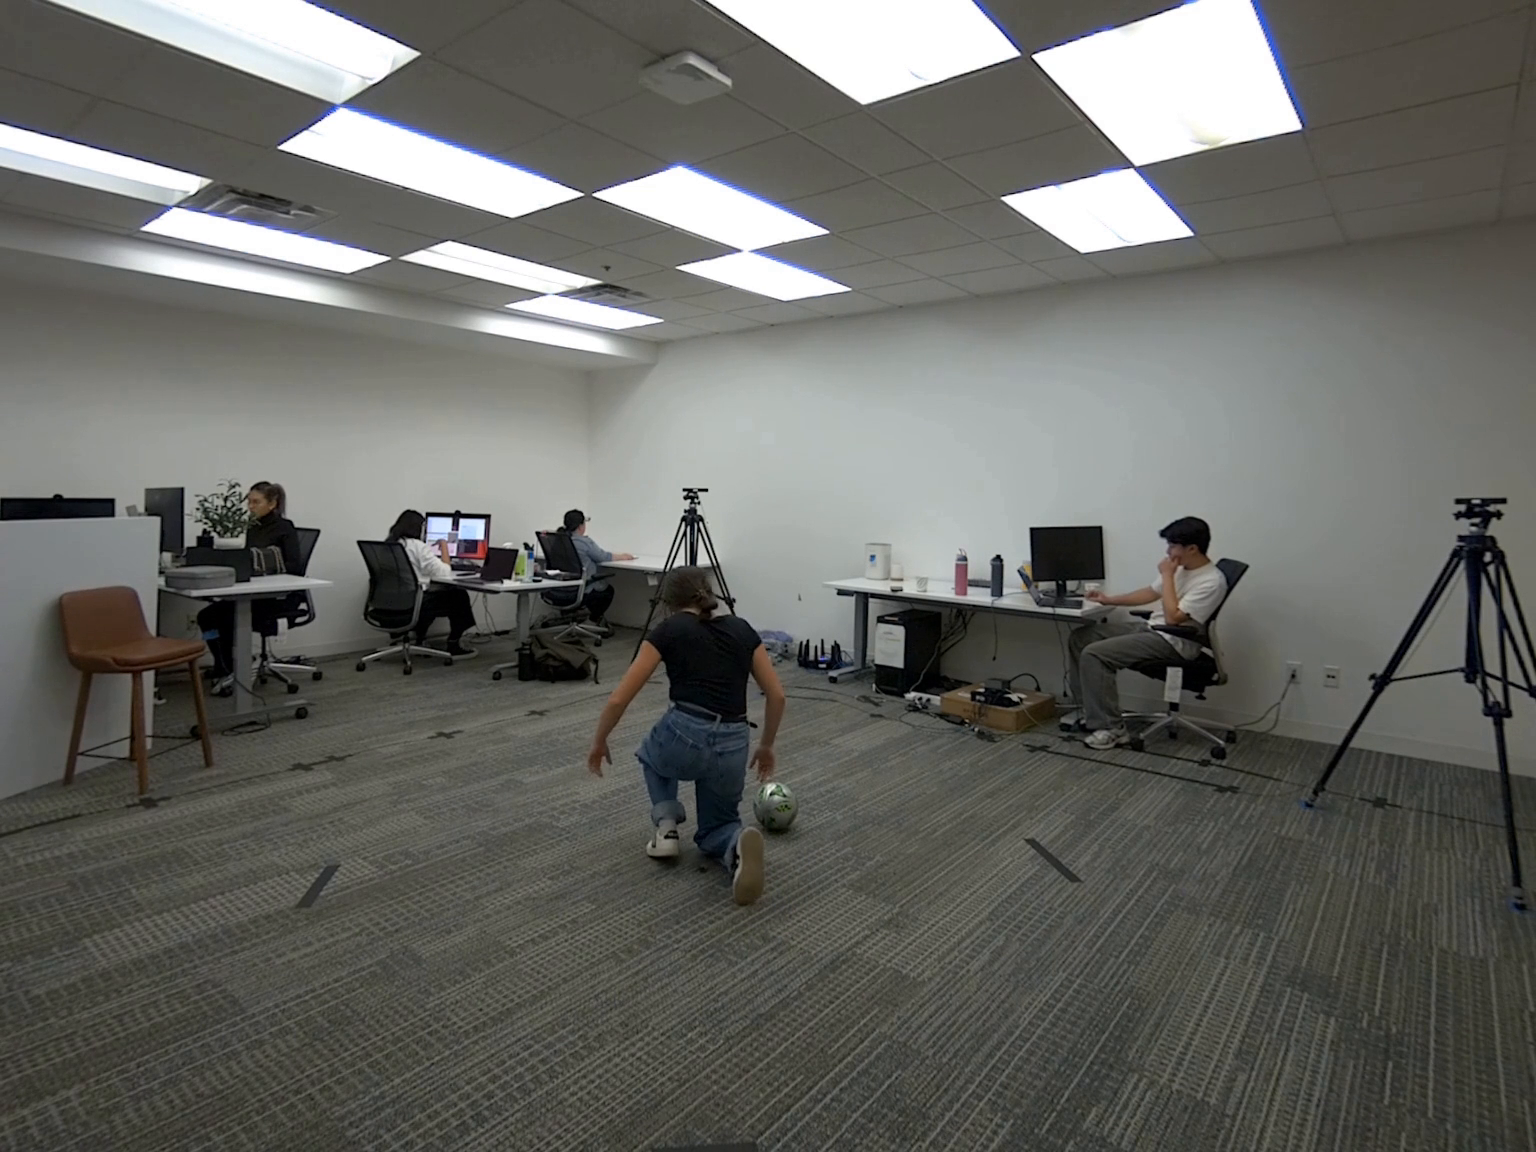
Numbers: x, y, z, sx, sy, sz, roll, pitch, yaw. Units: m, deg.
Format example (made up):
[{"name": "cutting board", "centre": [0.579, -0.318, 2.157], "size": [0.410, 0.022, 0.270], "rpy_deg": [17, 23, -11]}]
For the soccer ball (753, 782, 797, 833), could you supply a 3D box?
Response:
[{"name": "soccer ball", "centre": [0.035, 0.937, 3.496], "size": [0.187, 0.187, 0.188], "rpy_deg": [1, 4, -2]}]
